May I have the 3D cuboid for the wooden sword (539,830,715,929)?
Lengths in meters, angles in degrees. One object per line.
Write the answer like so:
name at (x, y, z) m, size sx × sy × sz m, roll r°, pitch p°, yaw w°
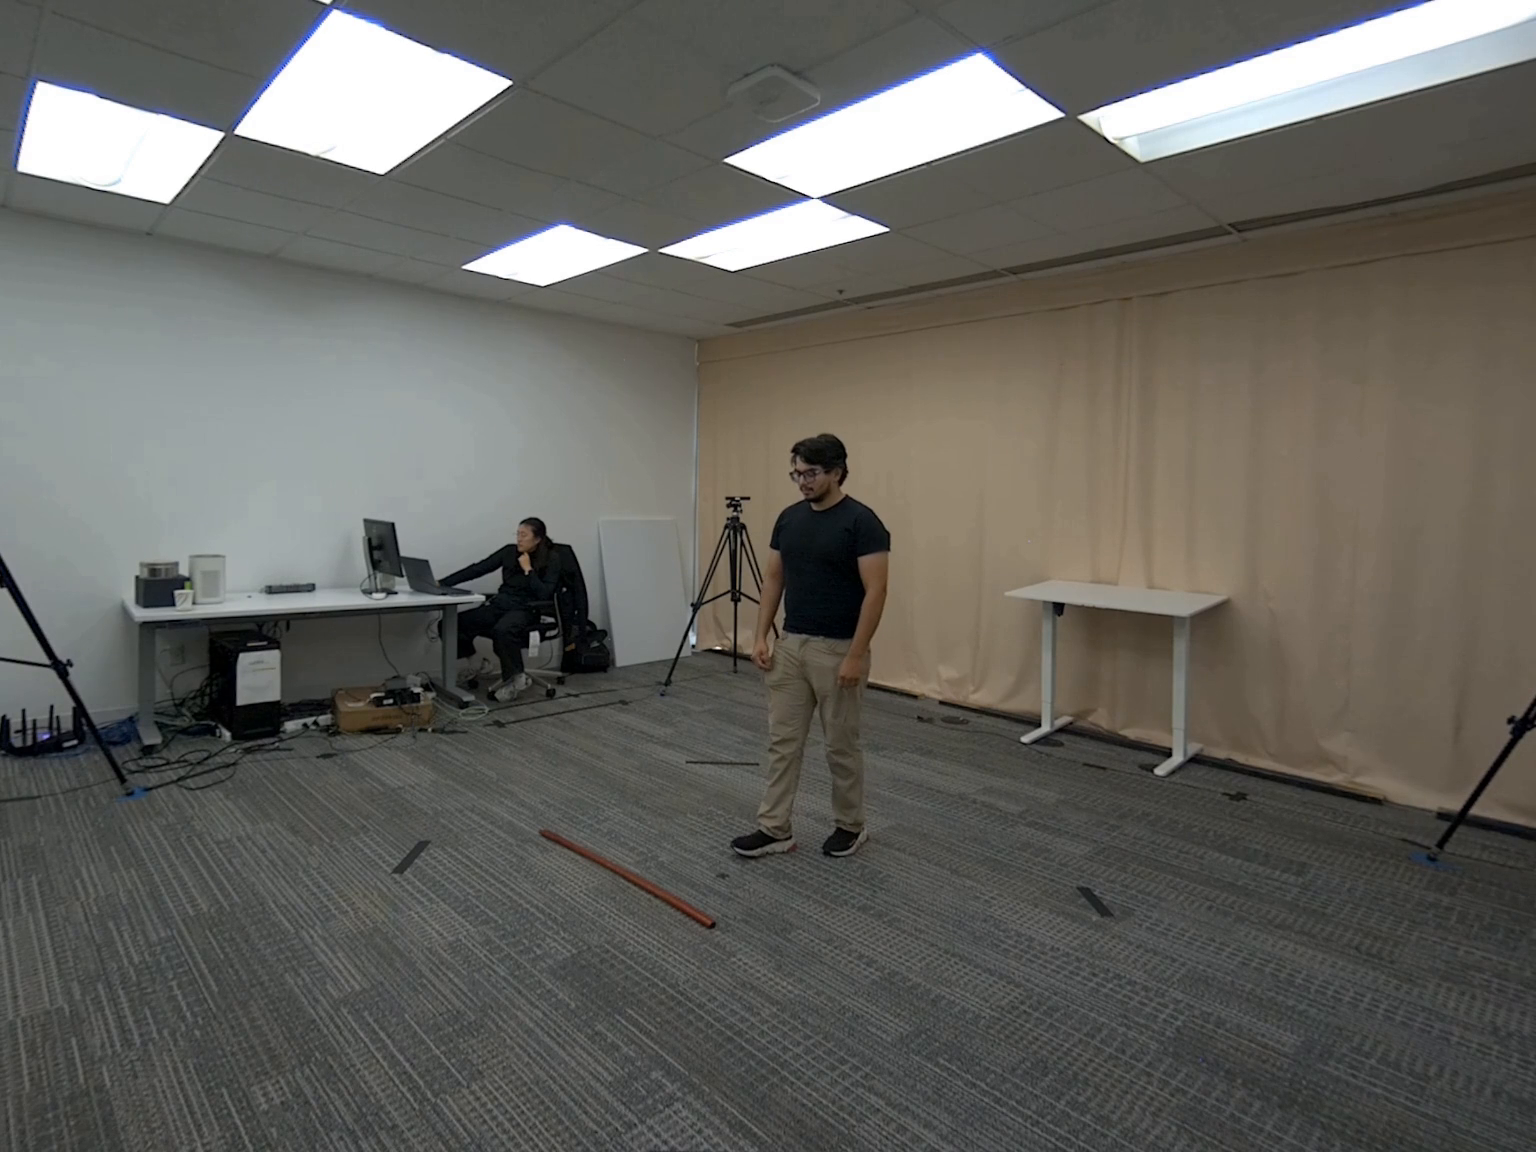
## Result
wooden sword at (-0.540, 1.078, 3.084) m, size 1.051 × 0.024 × 0.051 m, roll 7°, pitch 29°, yaw 45°
